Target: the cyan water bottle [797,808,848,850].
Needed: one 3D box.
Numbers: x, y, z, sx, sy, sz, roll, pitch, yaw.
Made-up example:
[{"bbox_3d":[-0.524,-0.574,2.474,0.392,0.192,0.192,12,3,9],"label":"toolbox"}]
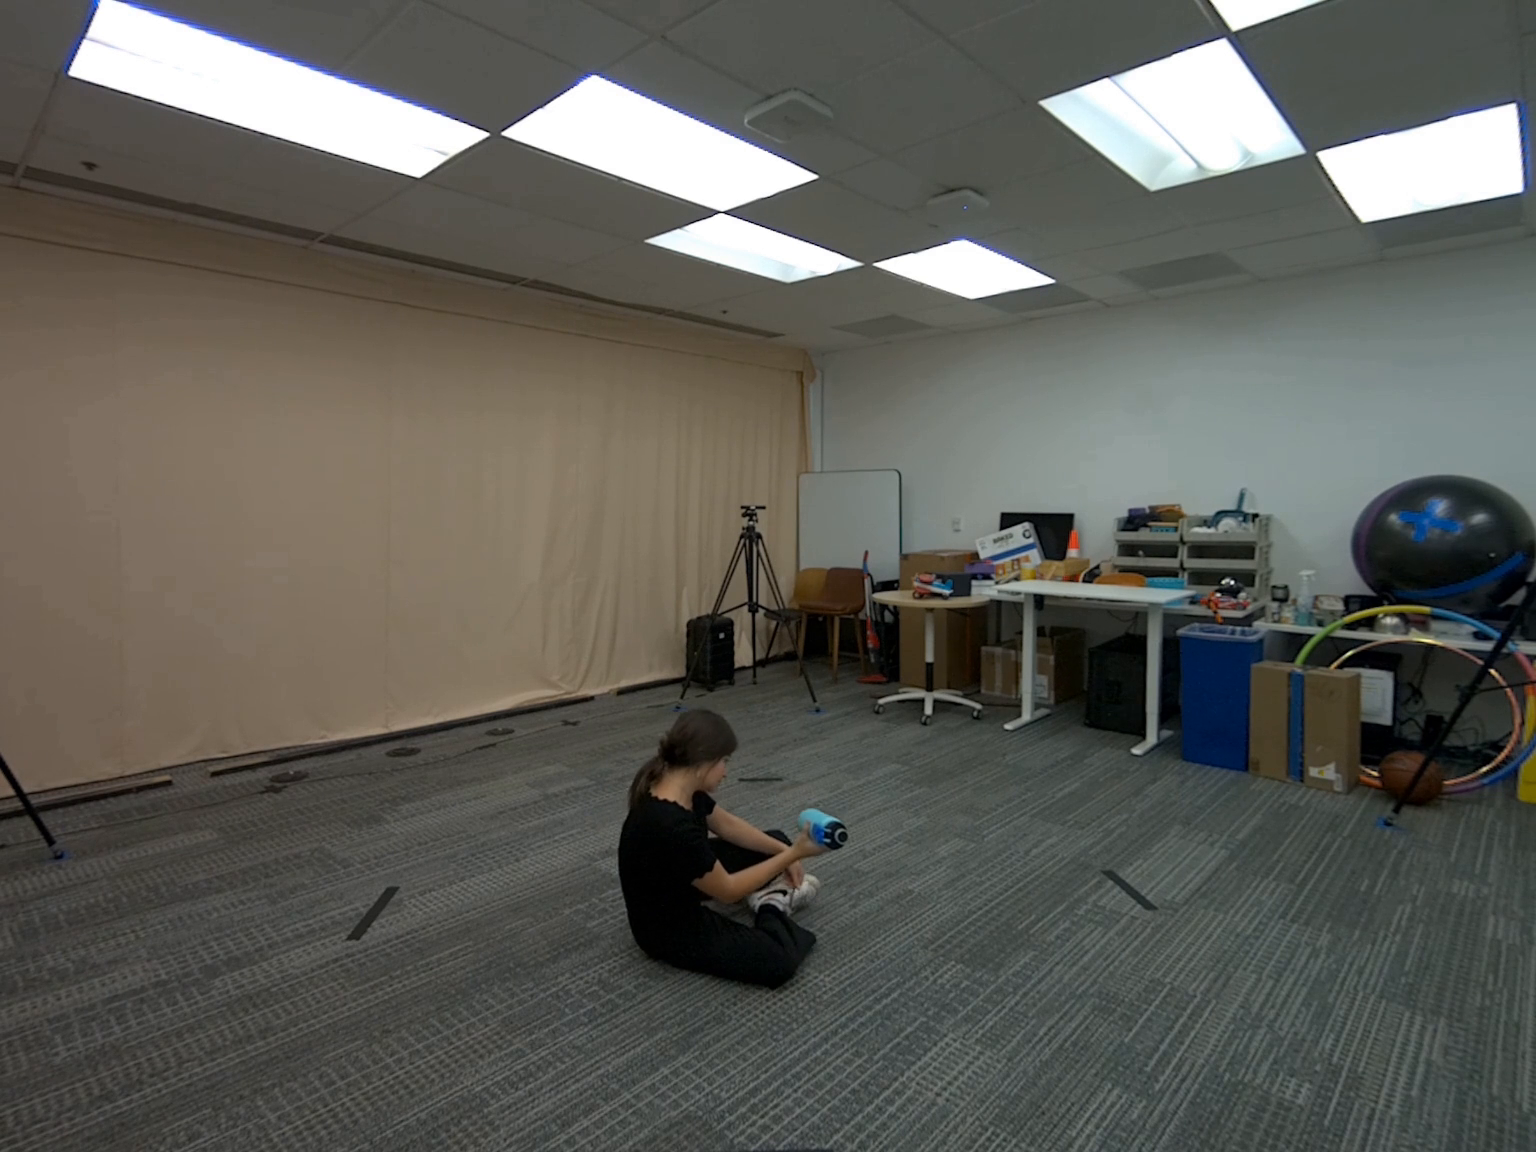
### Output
[{"bbox_3d":[0.174,0.754,2.492,0.091,0.093,0.284,0,-8,-11],"label":"cyan water bottle"}]
